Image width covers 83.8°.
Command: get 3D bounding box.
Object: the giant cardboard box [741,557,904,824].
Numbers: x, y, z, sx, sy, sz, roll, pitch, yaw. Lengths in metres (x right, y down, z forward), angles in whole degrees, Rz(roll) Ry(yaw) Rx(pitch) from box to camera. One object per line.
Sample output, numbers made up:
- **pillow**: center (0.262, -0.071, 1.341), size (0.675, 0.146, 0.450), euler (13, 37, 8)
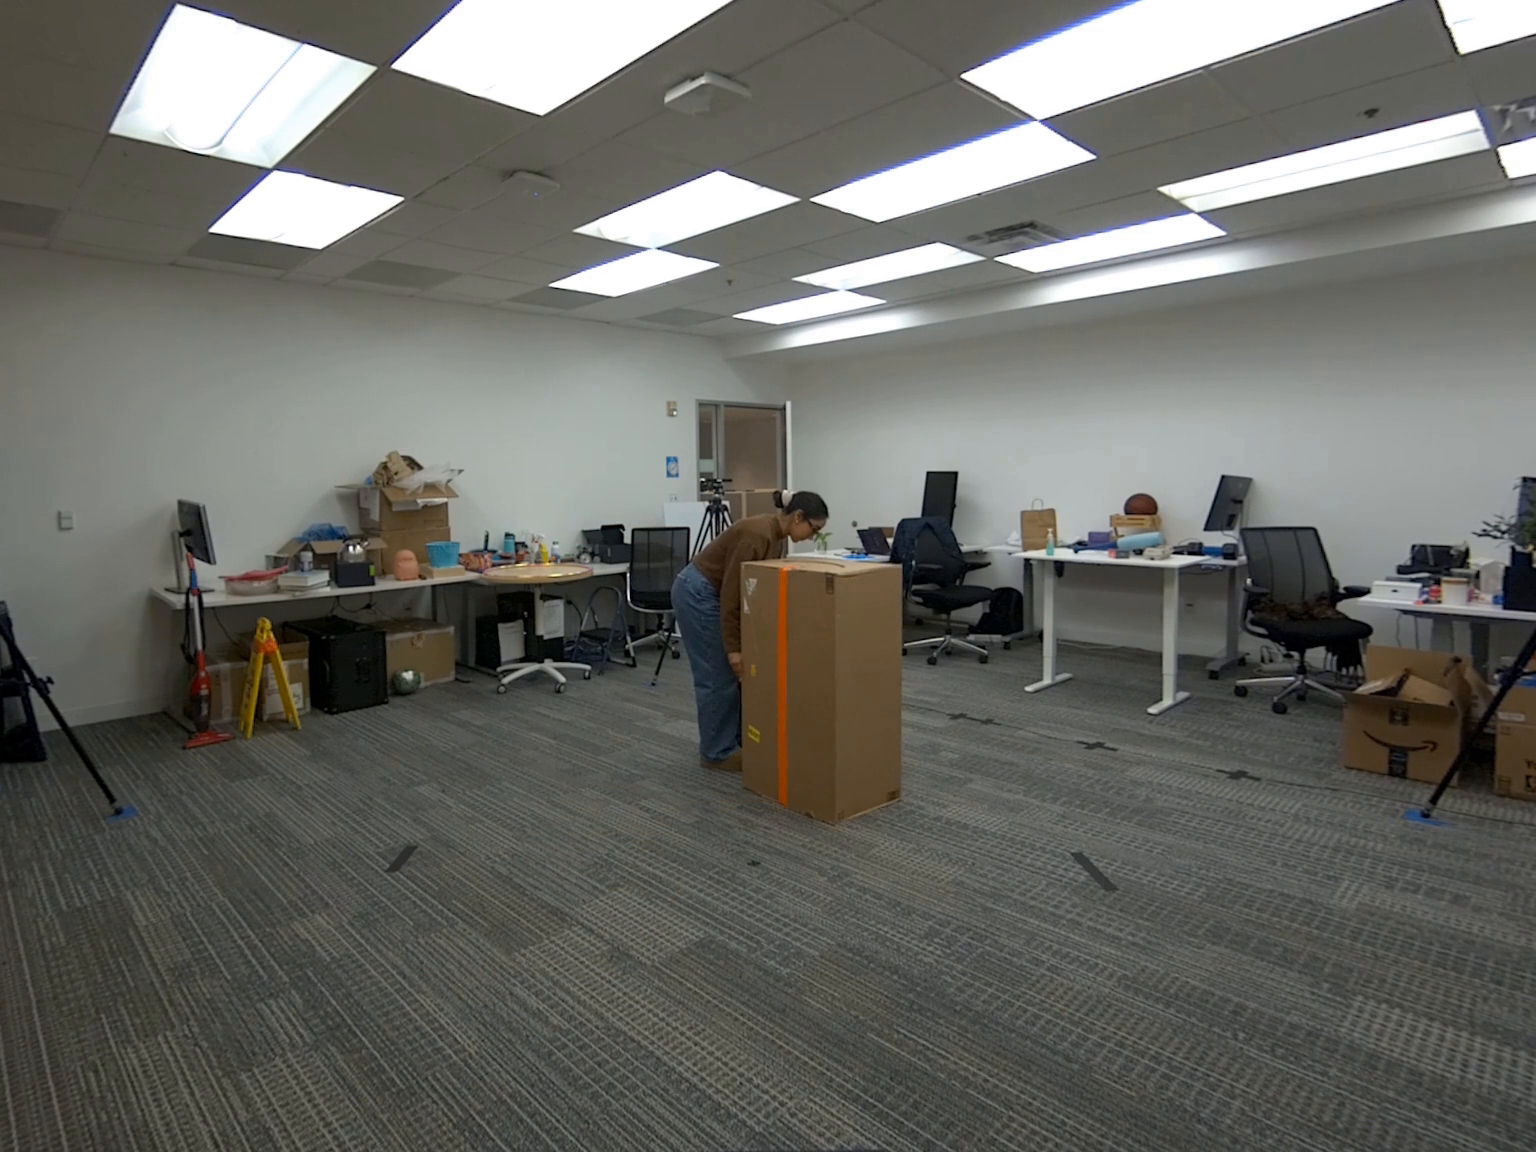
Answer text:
- **giant cardboard box**: center (0.229, 0.460, 3.743), size (0.415, 1.021, 0.595), euler (-5, 6, -41)
